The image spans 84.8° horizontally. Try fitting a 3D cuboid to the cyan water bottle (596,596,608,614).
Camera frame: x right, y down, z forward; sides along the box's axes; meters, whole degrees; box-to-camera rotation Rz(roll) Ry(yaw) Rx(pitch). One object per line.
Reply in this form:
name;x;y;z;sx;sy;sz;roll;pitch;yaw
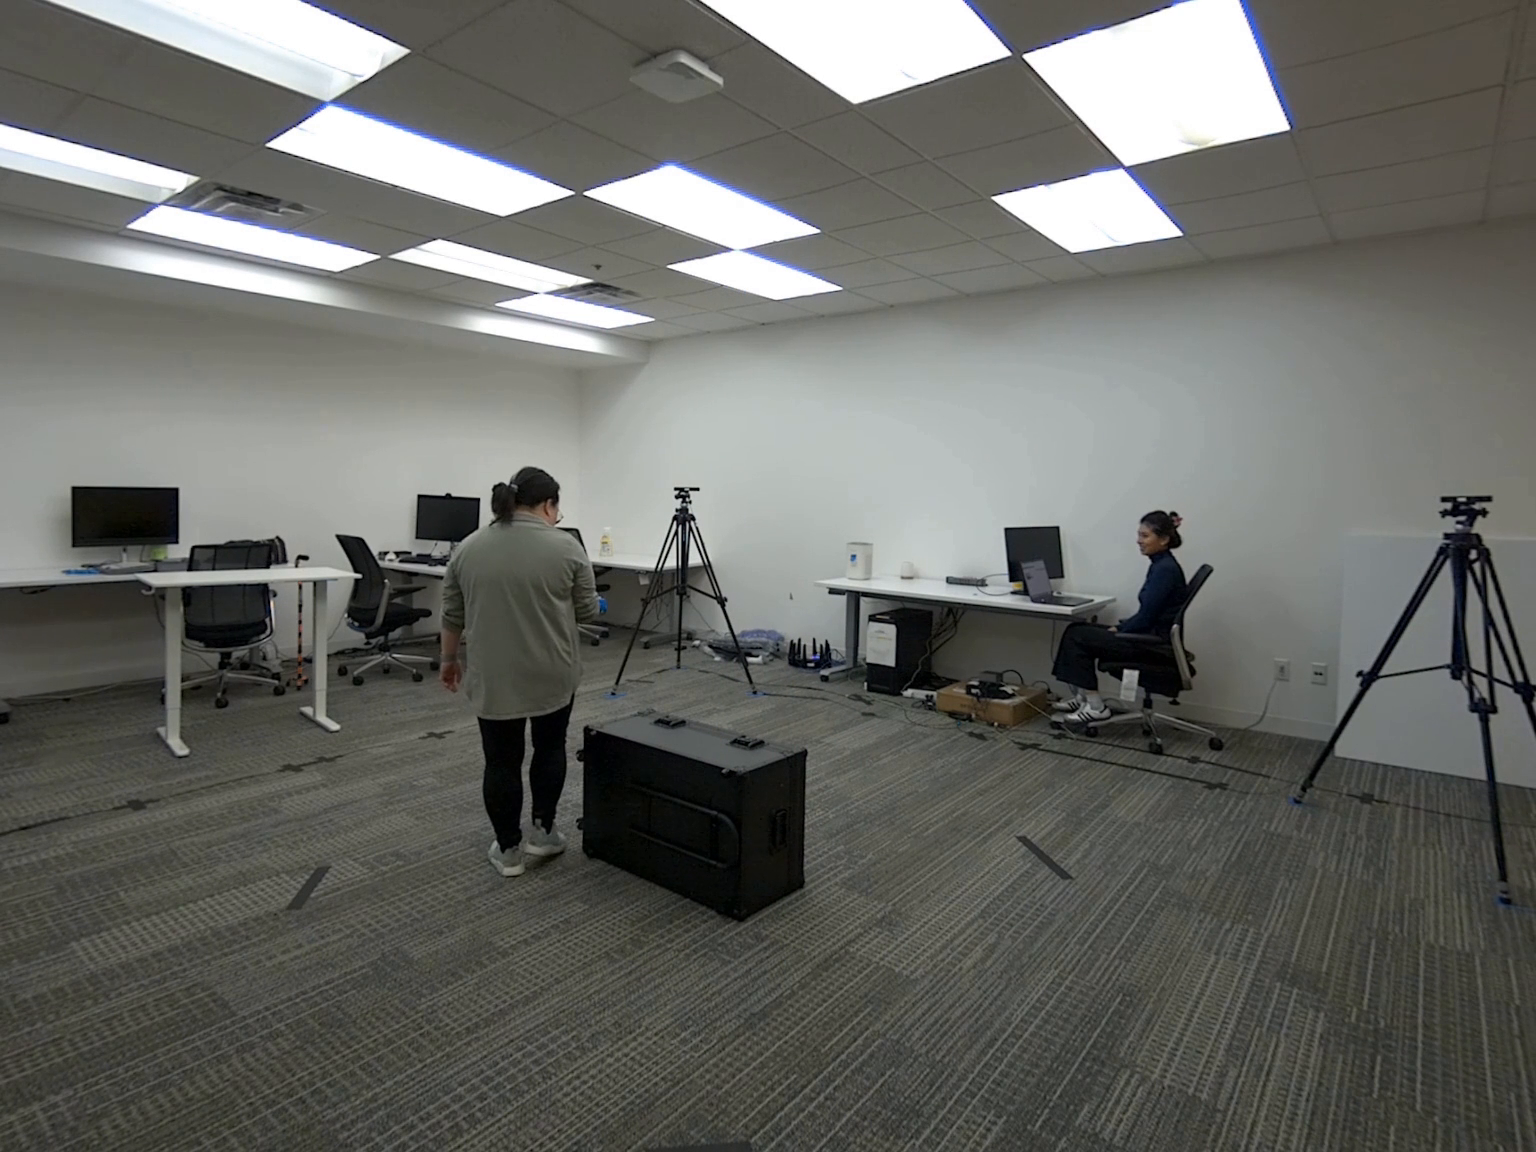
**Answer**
cyan water bottle;-0.757;0.121;3.387;0.095;0.092;0.274;3;-1;30
